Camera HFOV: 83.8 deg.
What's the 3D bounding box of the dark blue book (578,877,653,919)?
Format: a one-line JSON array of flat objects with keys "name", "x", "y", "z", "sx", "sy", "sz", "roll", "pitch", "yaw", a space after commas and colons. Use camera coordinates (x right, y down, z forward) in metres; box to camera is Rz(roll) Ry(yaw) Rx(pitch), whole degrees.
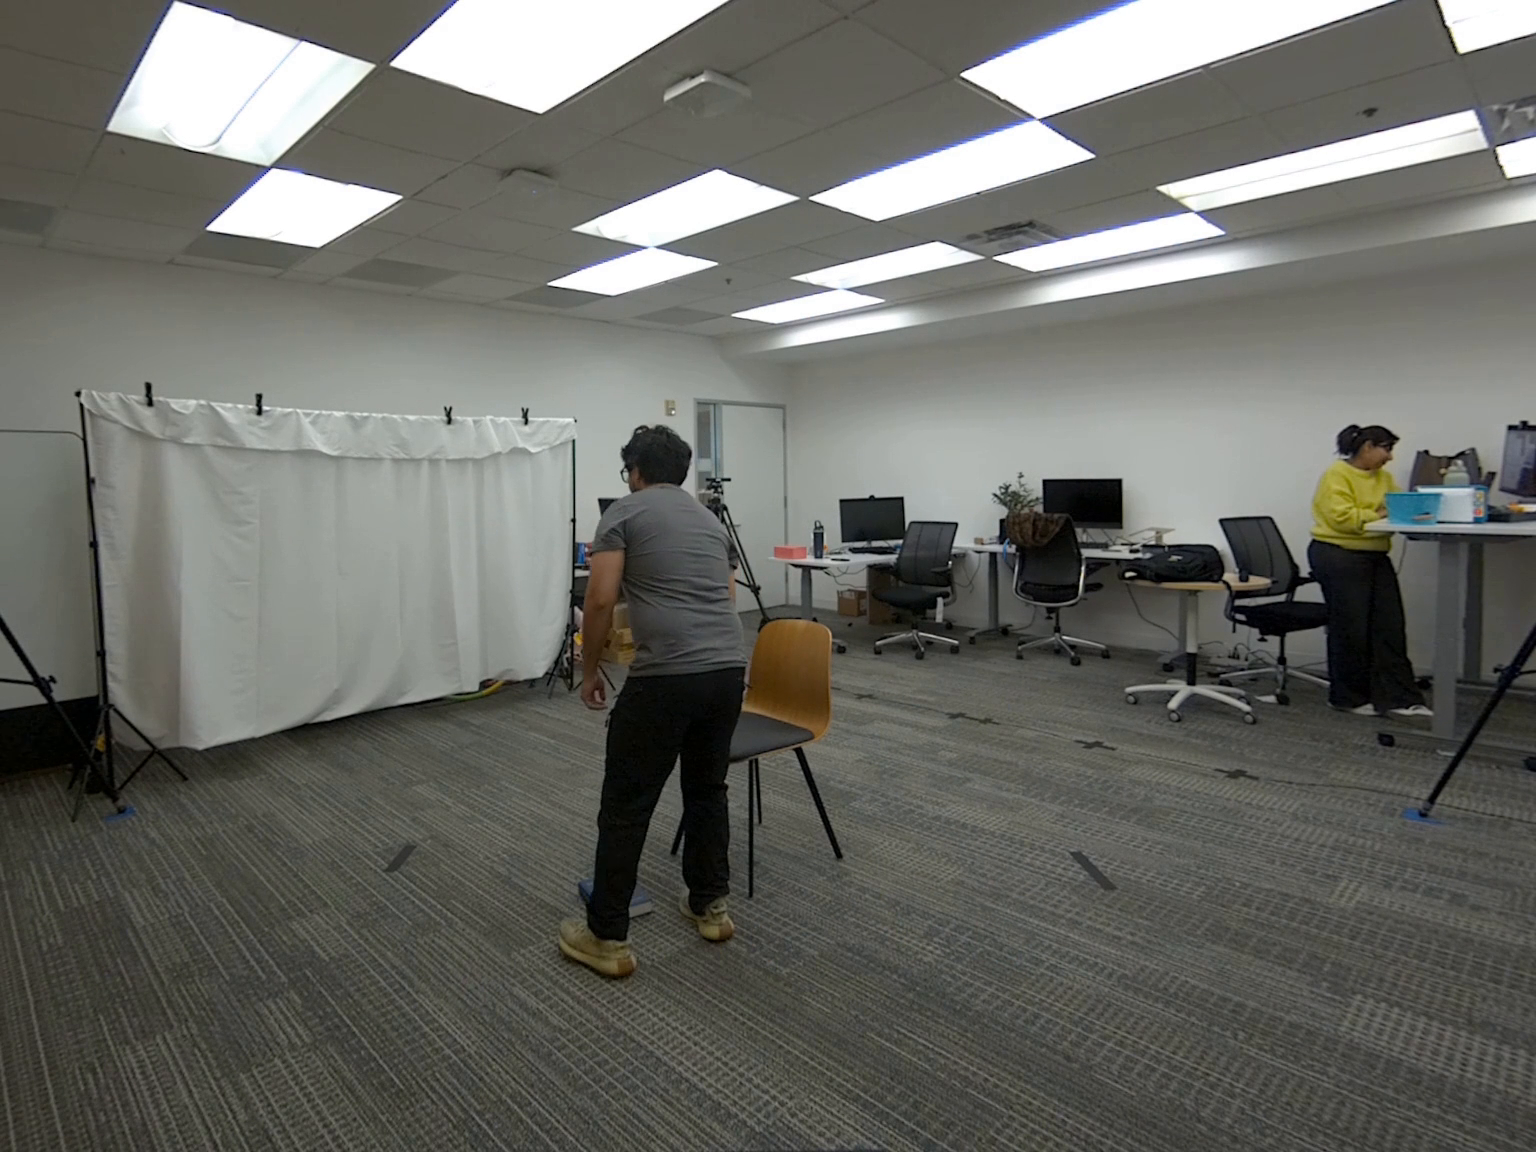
[{"name": "dark blue book", "x": -0.496, "y": 1.061, "z": 2.822, "sx": 0.159, "sy": 0.045, "sz": 0.252, "roll": -6, "pitch": 8, "yaw": -32}]
